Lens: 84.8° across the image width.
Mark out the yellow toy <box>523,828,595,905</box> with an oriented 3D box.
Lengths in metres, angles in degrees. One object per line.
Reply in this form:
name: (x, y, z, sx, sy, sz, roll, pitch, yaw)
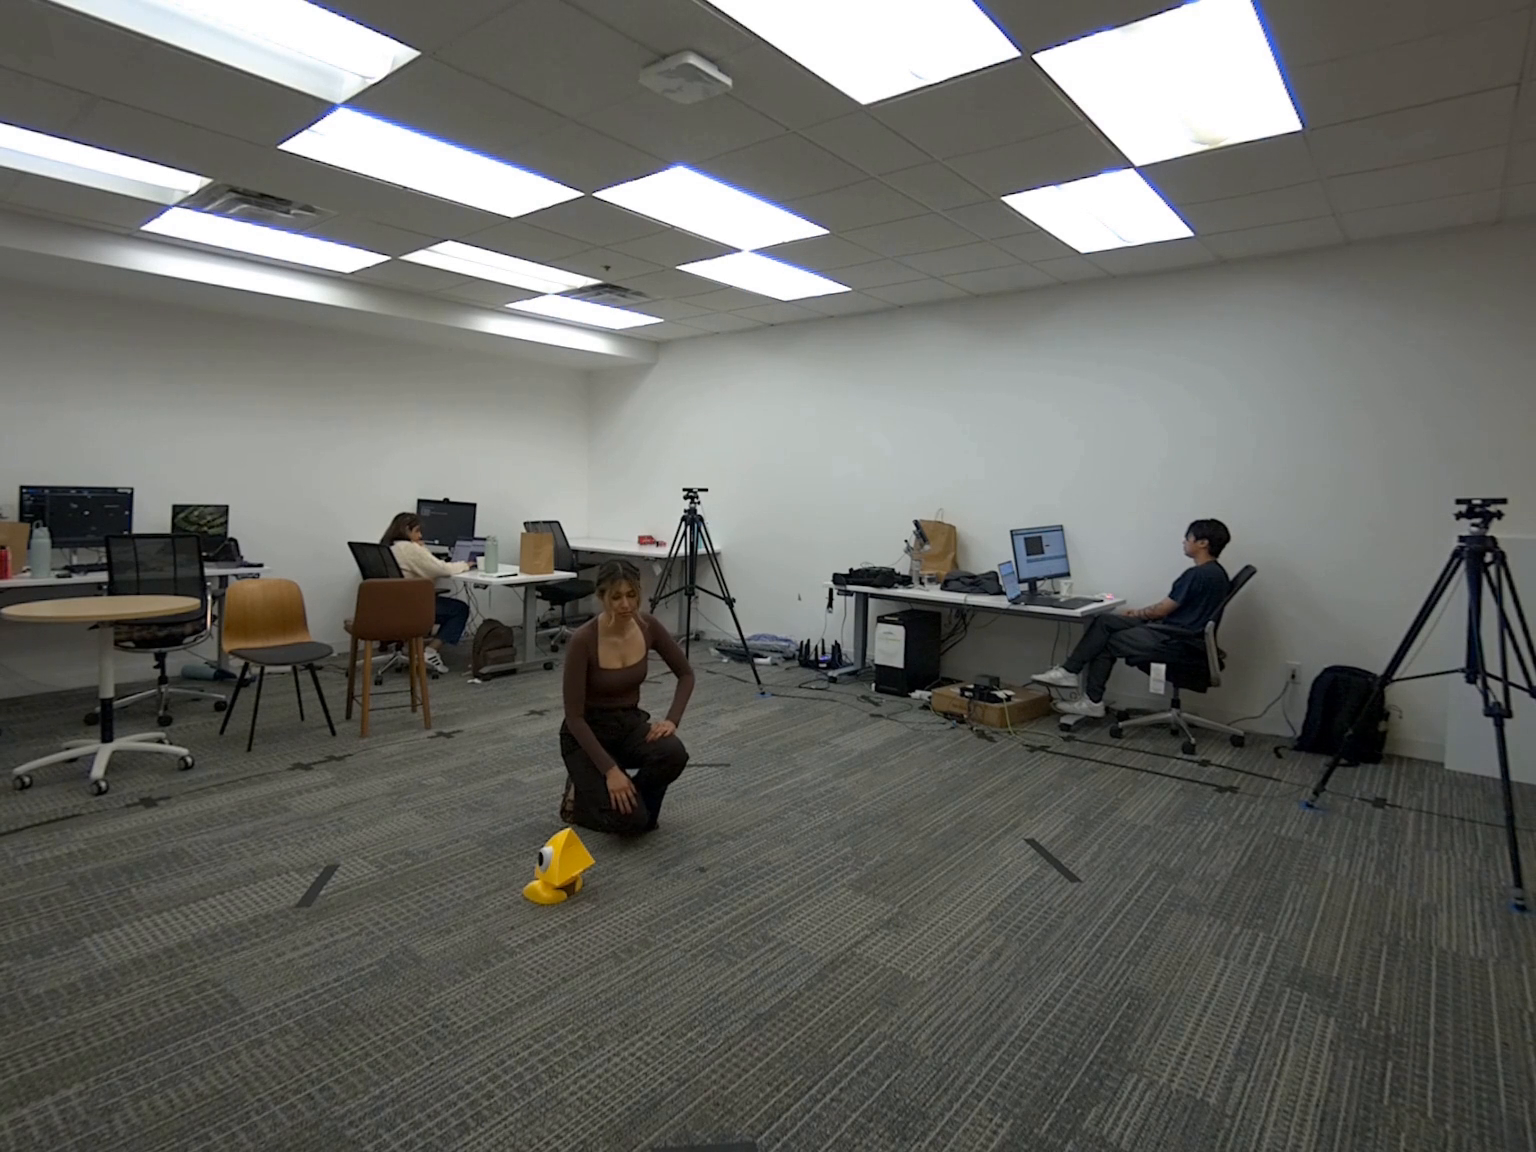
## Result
yellow toy: (-0.740, 0.967, 2.922, 0.198, 0.230, 0.200, 4, 5, 27)
